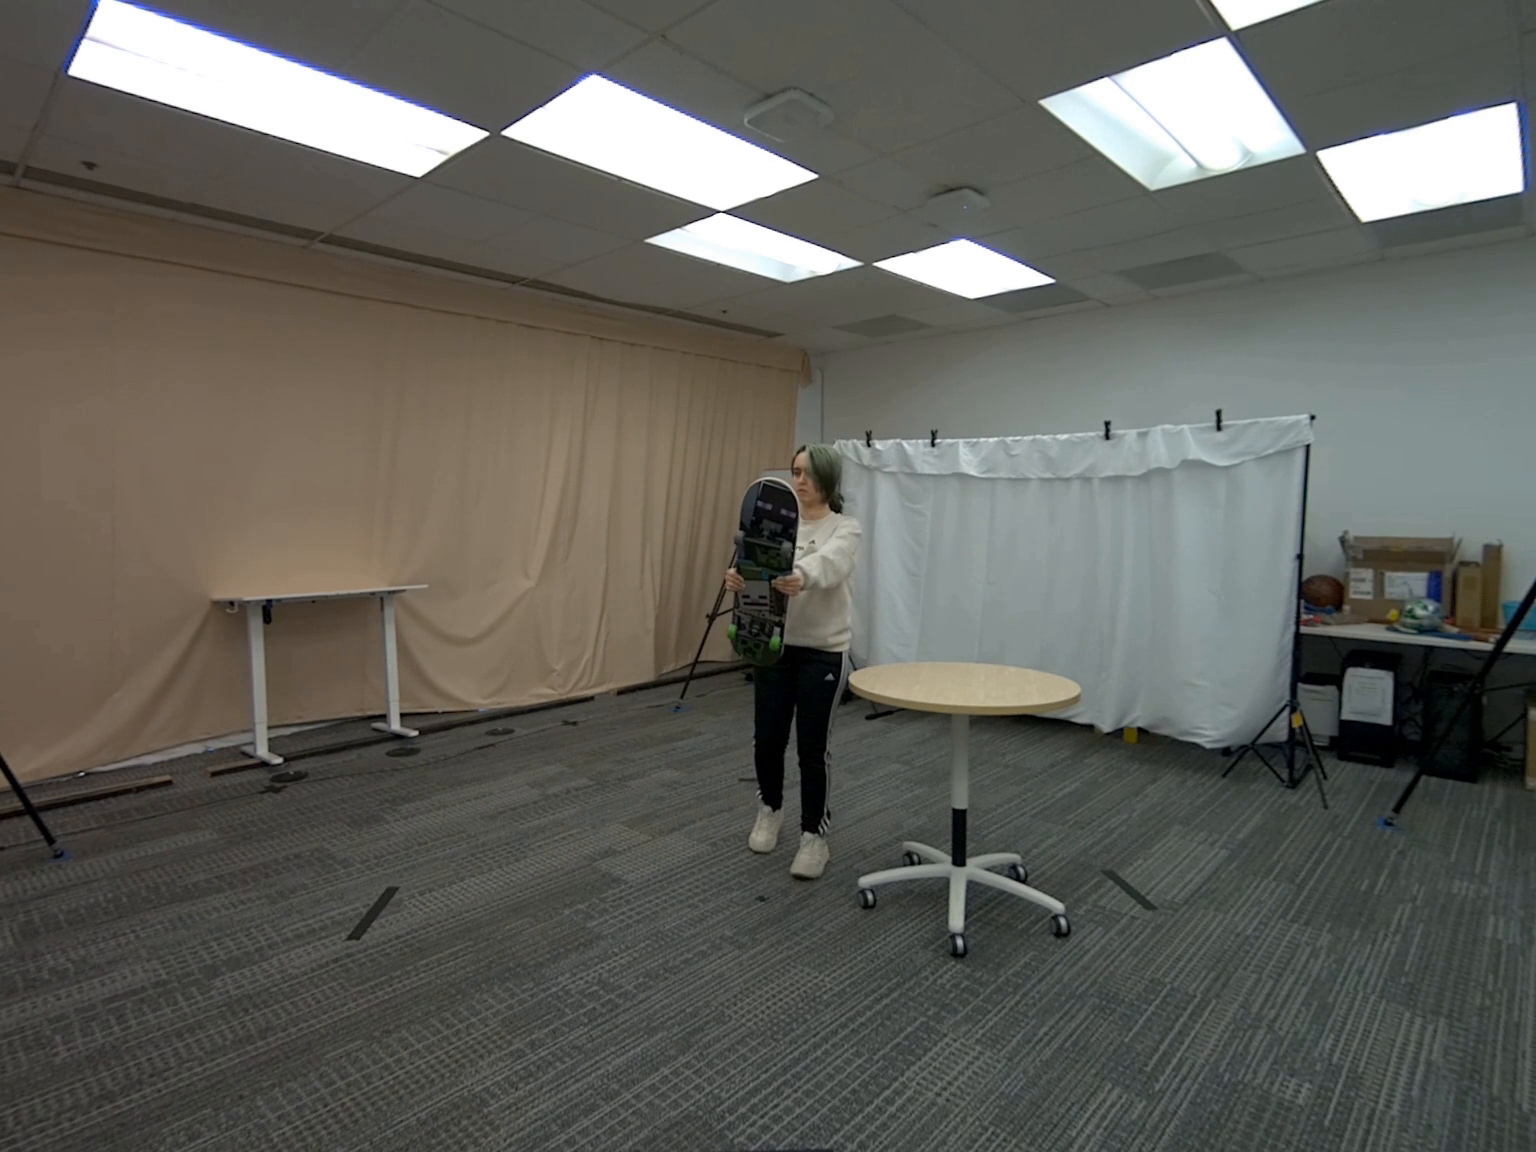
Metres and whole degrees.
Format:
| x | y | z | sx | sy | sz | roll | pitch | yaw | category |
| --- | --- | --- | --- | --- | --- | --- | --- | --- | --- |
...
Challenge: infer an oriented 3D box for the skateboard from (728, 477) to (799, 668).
| x | y | z | sx | sy | sz | roll | pitch | yaw | category |
| --- | --- | --- | --- | --- | --- | --- | --- | --- | --- |
| -0.022 | 0.039 | 2.796 | 0.196 | 0.774 | 0.110 | 17 | 37 | 11 | skateboard |
